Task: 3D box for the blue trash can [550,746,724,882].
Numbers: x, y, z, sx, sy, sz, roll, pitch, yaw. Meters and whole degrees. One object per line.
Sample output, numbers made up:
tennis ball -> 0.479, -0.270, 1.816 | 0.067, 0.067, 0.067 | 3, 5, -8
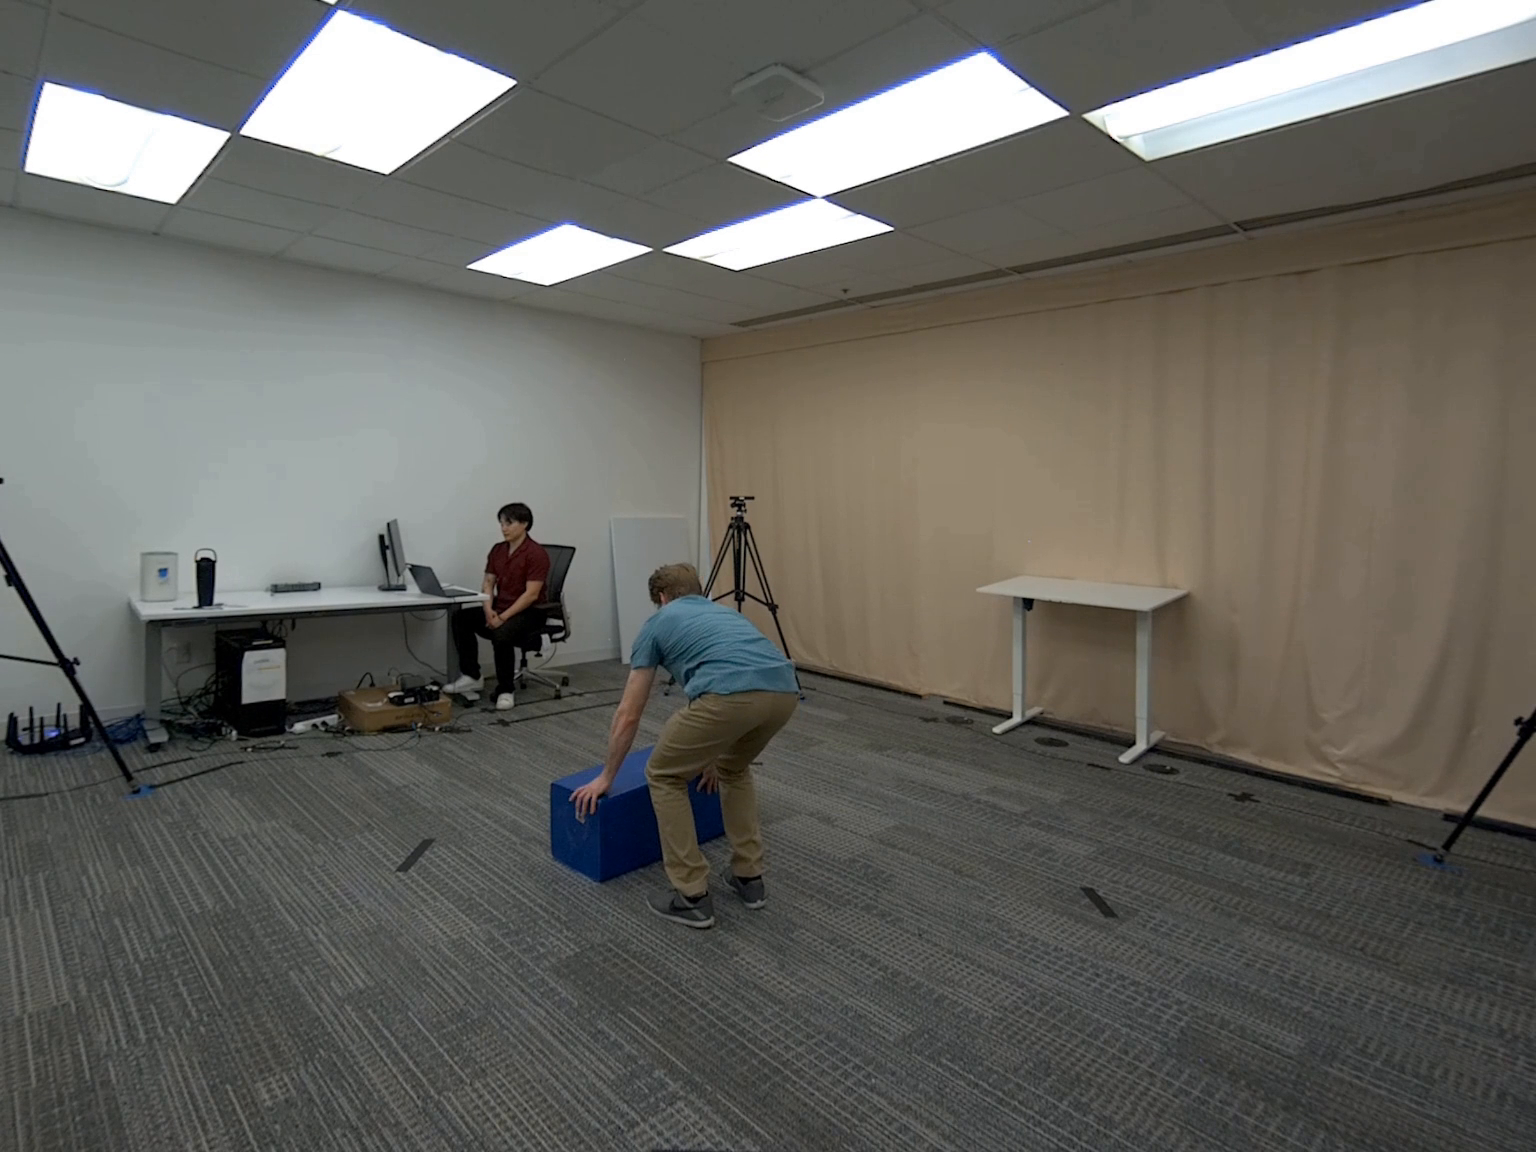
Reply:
blue trash can -> -0.487, 0.913, 3.359 | 0.383, 0.376, 0.699 | 5, 9, 41
